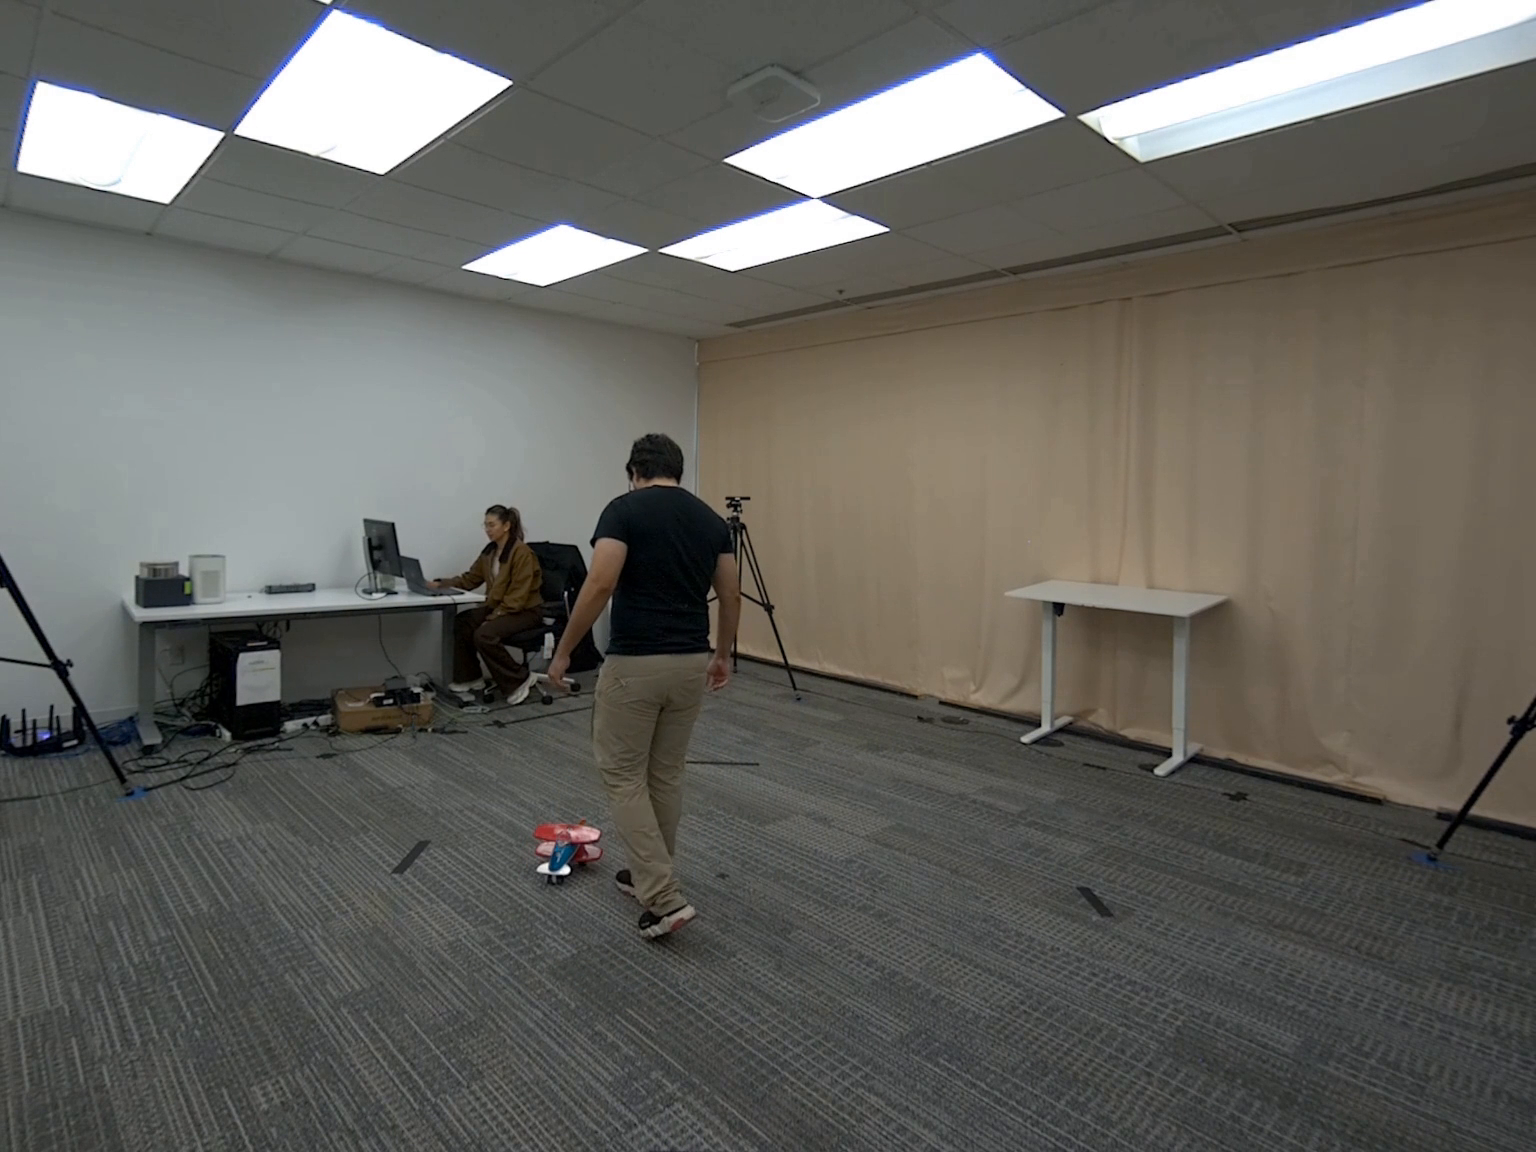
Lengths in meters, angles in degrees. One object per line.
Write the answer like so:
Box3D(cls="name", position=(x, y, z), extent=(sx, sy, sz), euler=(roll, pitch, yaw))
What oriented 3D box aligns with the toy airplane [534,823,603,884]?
Box3D(cls="toy airplane", position=(-0.733, 1.019, 3.095), extent=(0.247, 0.156, 0.263), euler=(0, 3, -20))
